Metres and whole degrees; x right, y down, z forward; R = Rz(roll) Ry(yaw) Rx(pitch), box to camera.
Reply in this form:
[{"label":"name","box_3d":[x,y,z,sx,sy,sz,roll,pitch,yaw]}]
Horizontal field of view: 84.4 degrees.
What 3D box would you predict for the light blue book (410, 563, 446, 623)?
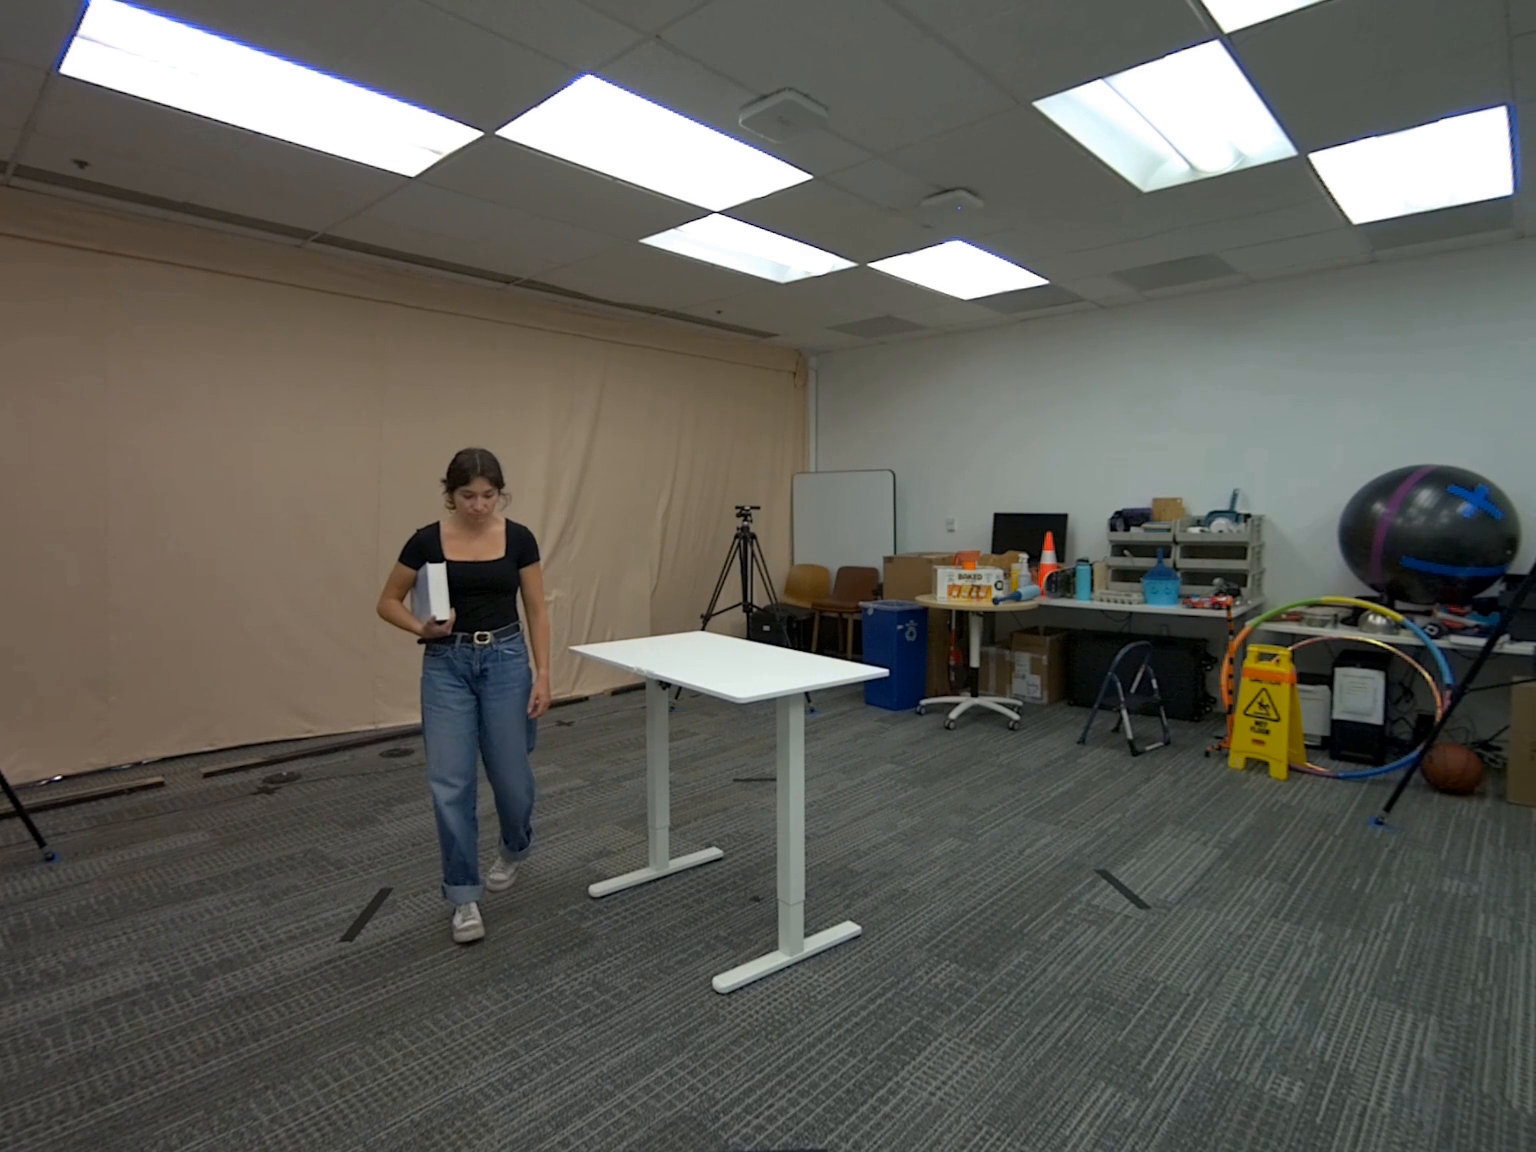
[{"label":"light blue book","box_3d":[-1.114,0.072,2.762,0.057,0.193,0.266,-1,-12,-31]}]
